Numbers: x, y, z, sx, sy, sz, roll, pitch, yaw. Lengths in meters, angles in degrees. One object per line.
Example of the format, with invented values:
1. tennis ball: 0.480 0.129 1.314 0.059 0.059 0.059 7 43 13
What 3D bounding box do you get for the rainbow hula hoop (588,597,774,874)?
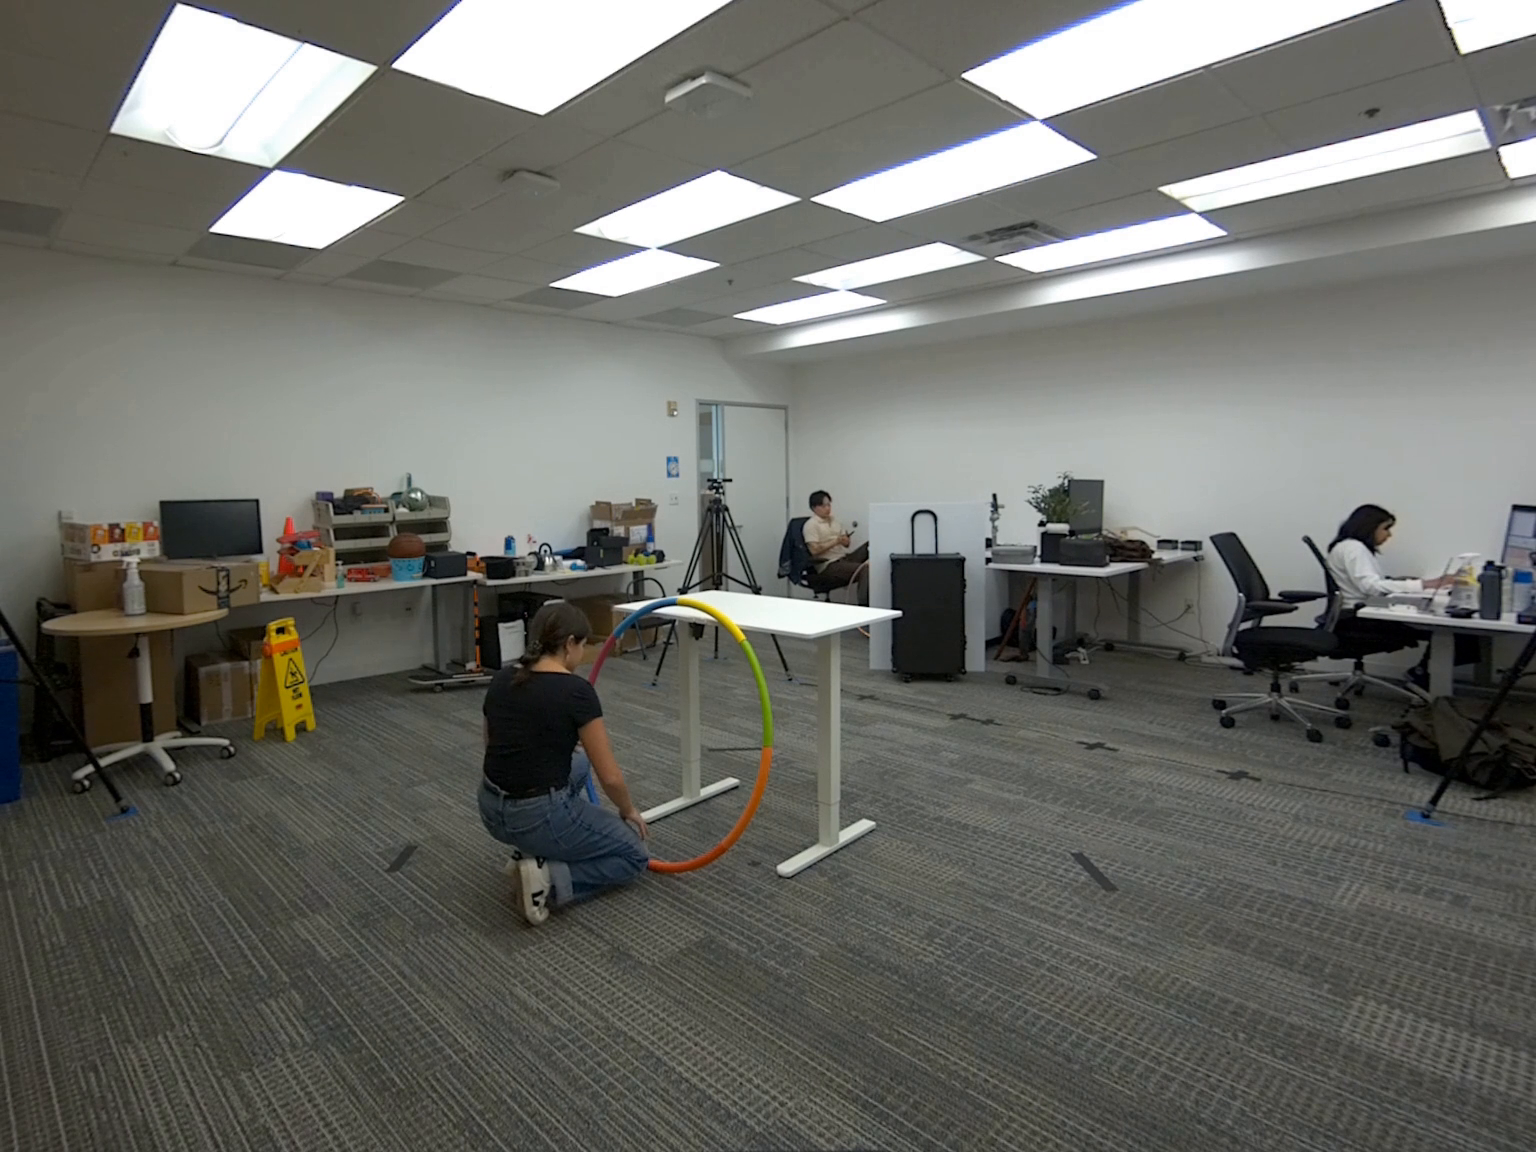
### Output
1. rainbow hula hoop: -0.380 0.570 3.152 1.008 0.984 0.034 3 -9 41
